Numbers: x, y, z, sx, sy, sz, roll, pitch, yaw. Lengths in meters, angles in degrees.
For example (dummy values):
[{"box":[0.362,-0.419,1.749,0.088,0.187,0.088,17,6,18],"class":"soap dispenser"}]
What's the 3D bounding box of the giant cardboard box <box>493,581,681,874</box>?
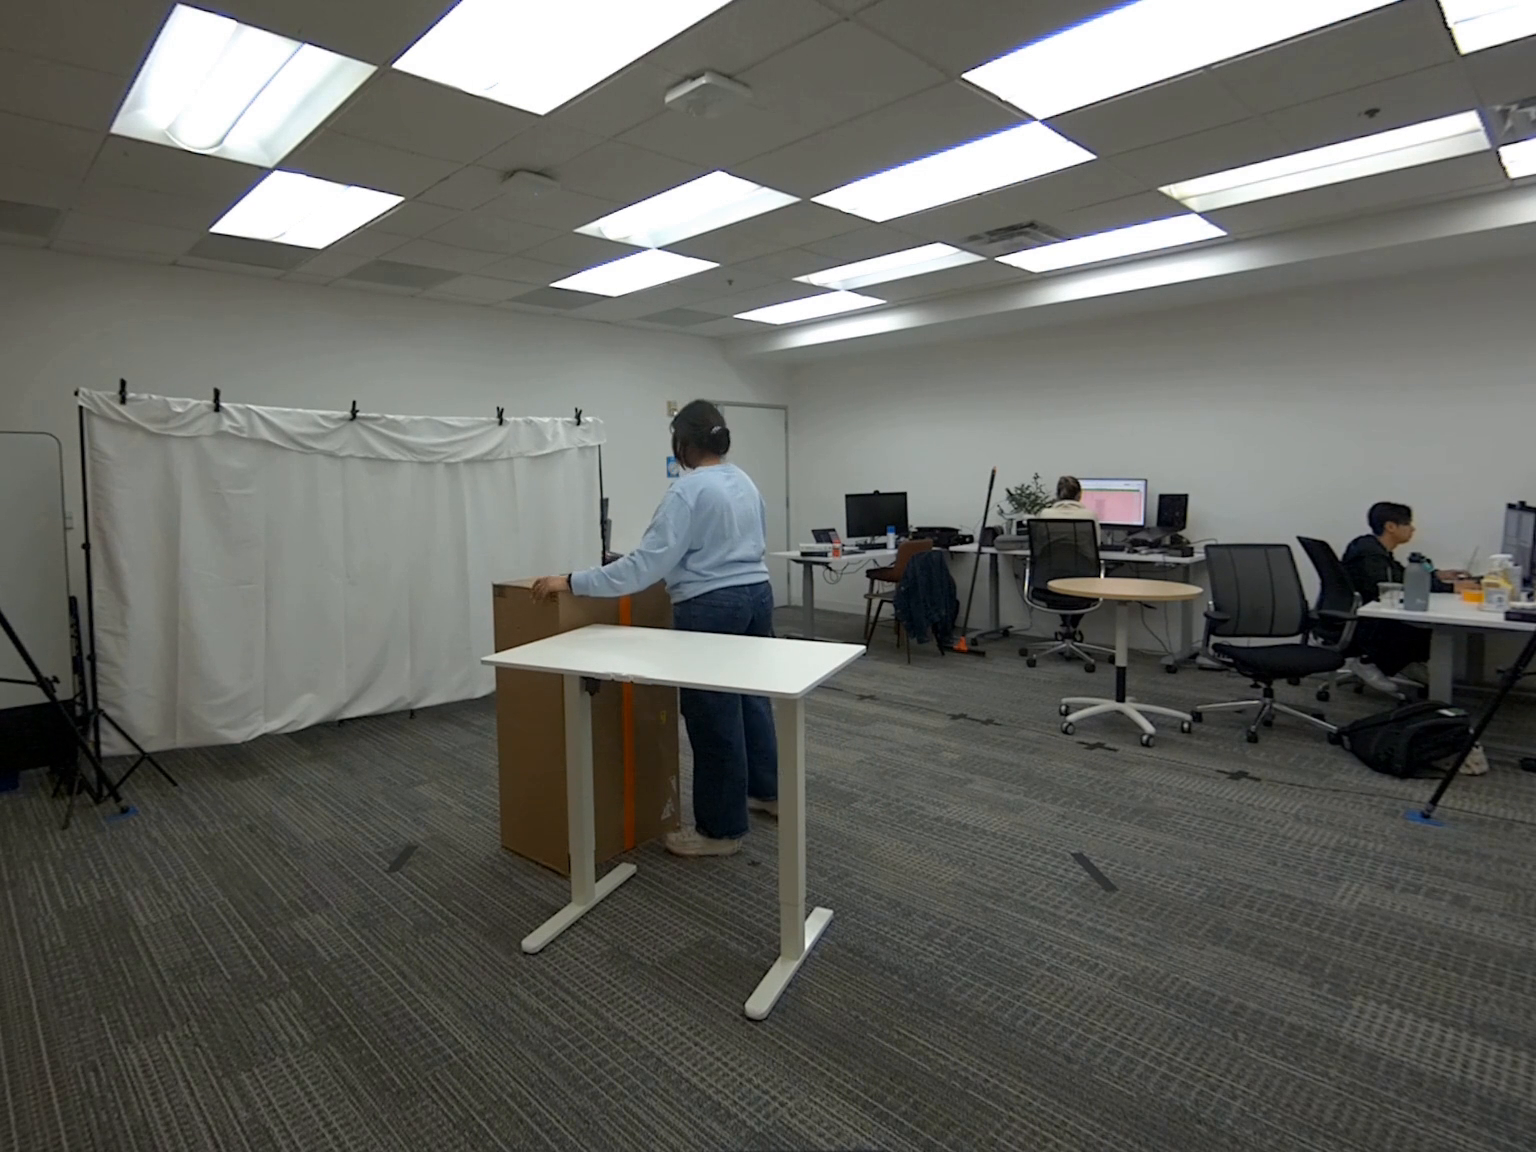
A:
[{"box":[-0.707,0.526,3.347,0.439,1.022,0.563,1,5,40],"class":"giant cardboard box"}]
